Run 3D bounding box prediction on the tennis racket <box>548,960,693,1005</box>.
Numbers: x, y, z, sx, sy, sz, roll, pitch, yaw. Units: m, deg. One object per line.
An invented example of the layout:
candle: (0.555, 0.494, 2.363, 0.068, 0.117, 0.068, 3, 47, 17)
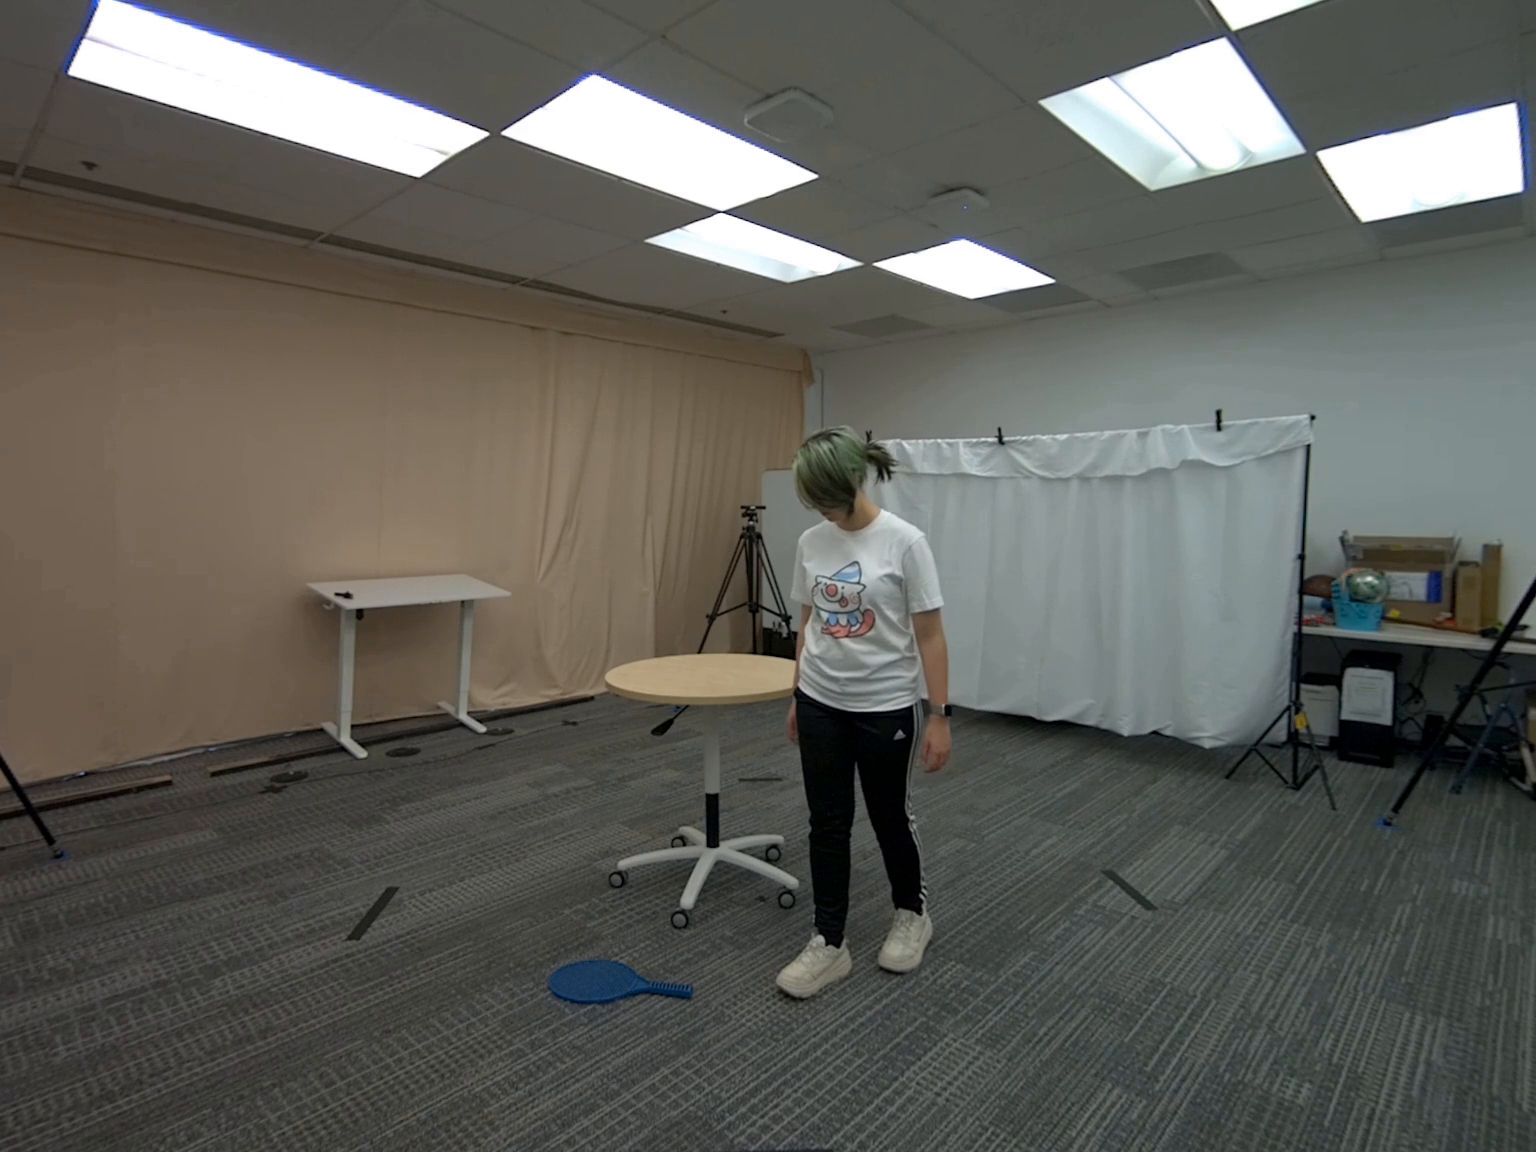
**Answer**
tennis racket: (-0.430, 1.179, 2.438, 0.439, 0.032, 0.211, -1, 4, 14)
